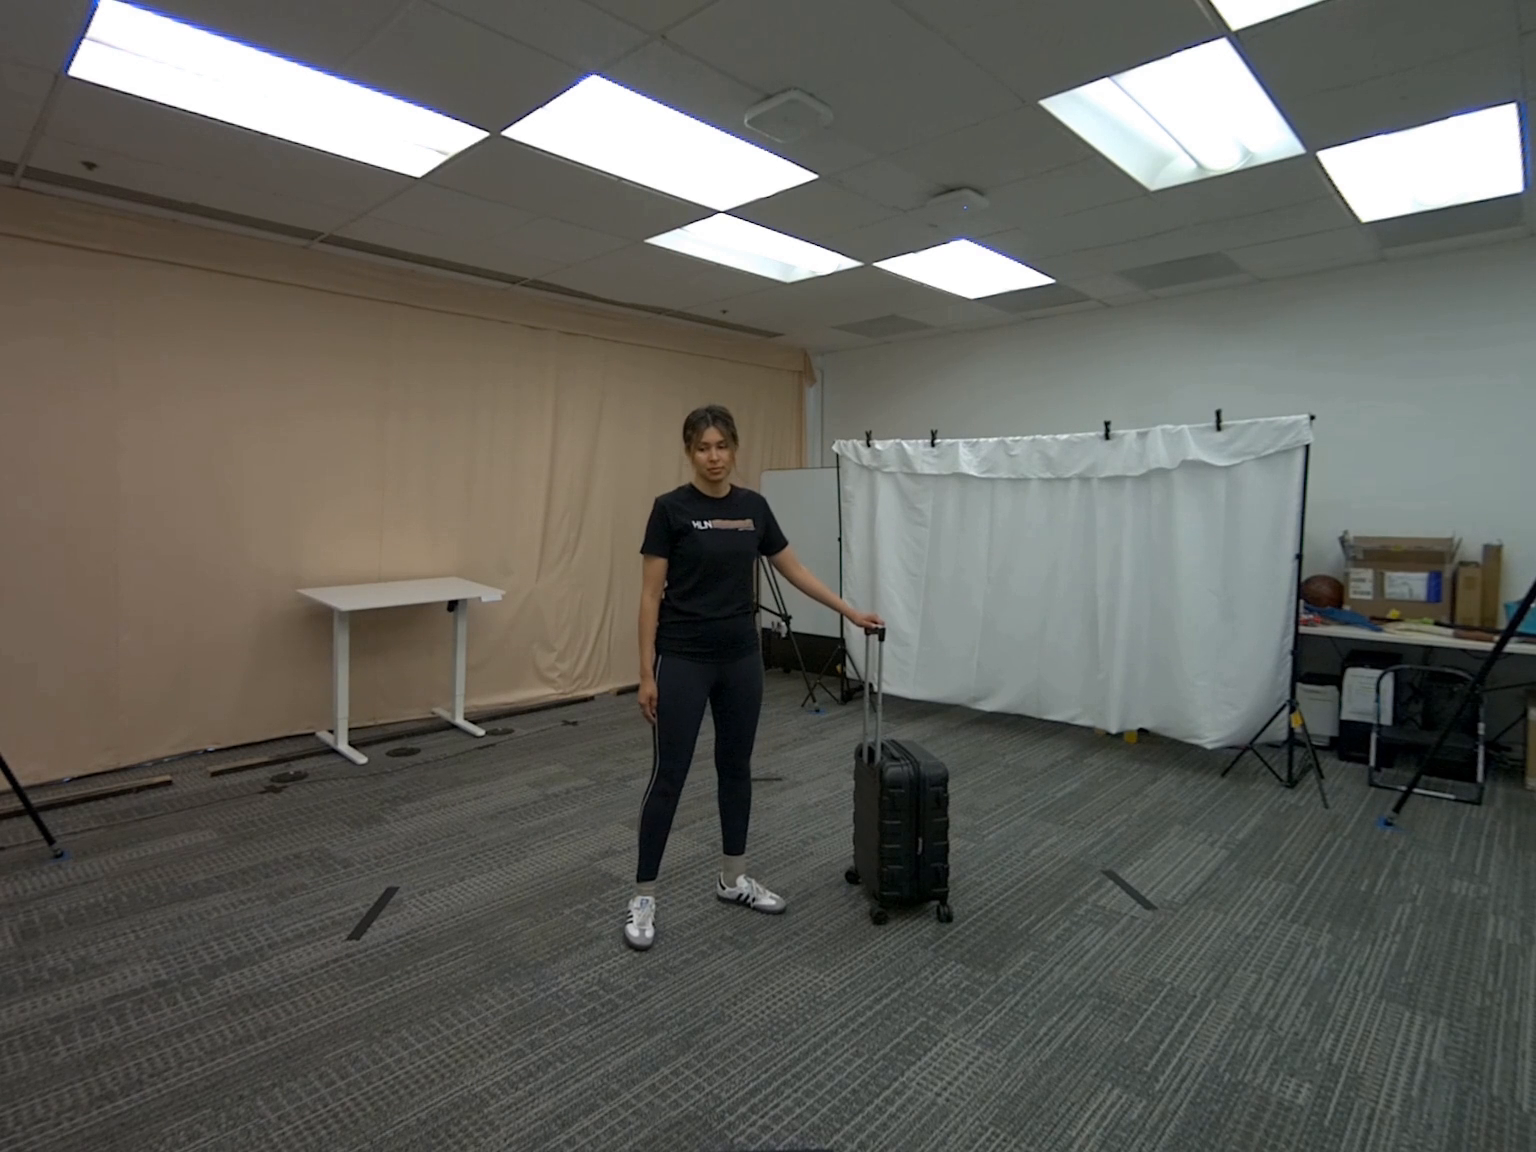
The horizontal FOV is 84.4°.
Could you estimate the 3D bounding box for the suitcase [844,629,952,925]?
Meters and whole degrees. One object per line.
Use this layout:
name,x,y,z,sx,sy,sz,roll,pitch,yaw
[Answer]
suitcase,0.469,0.669,2.944,0.255,0.976,0.388,2,3,-8
